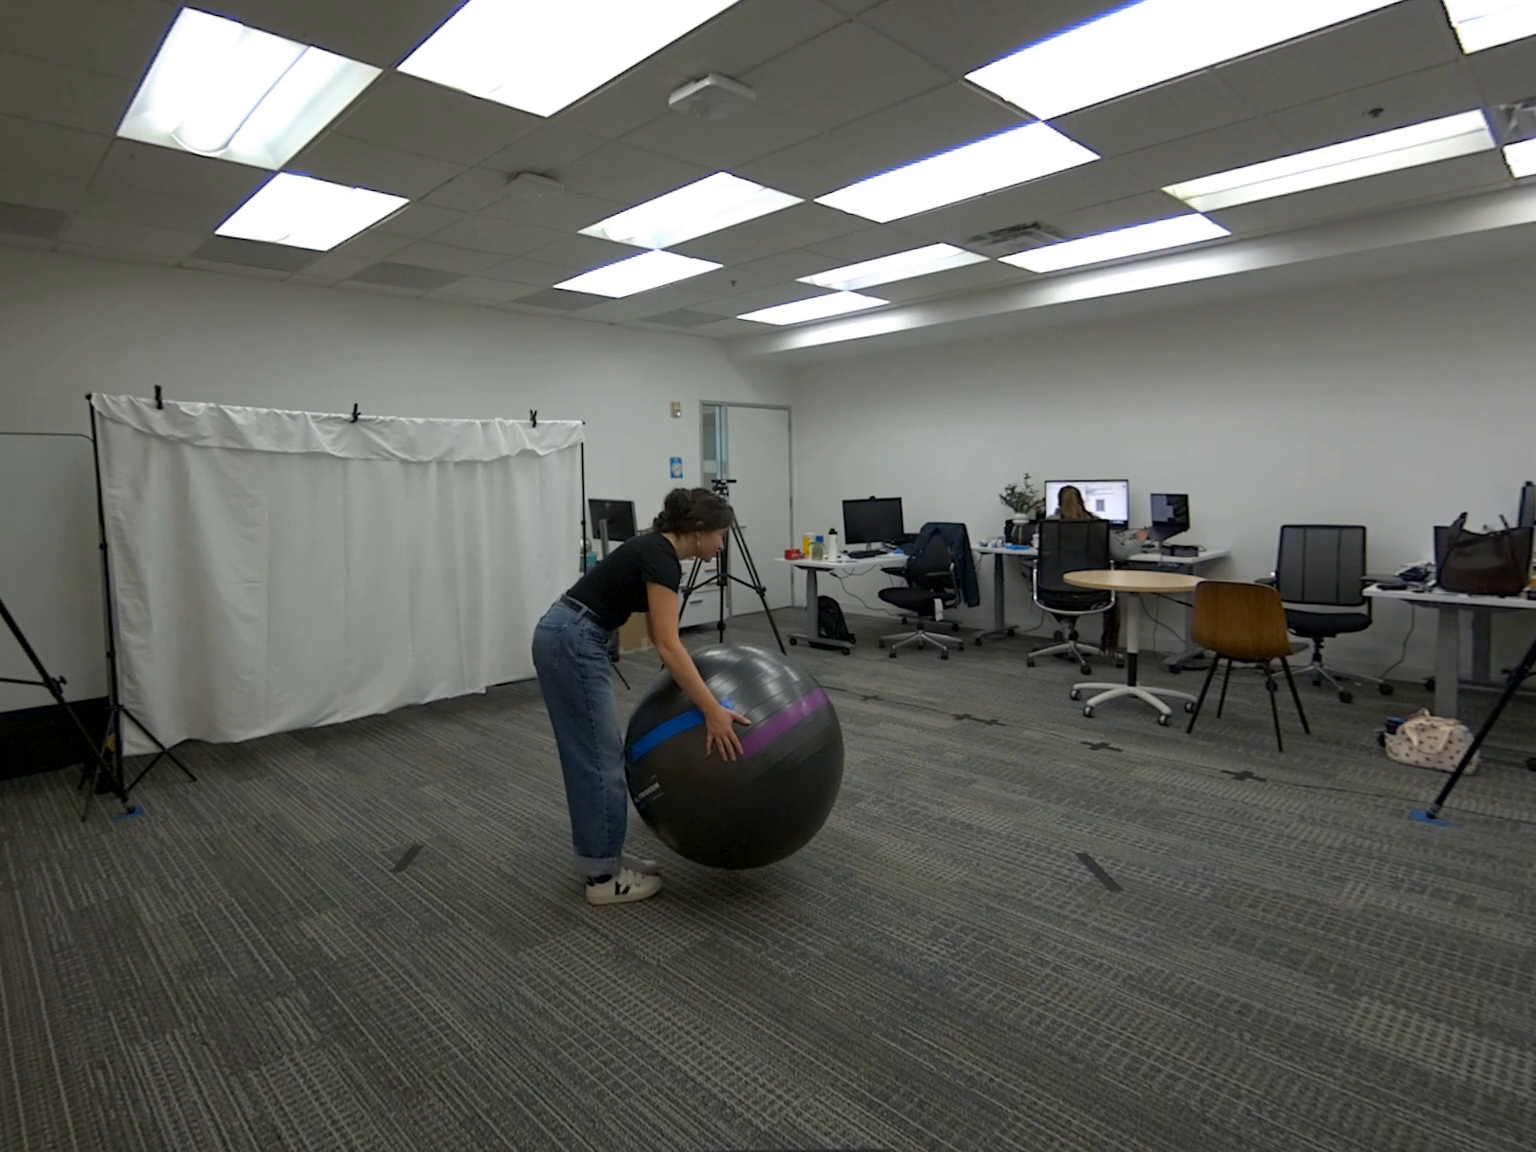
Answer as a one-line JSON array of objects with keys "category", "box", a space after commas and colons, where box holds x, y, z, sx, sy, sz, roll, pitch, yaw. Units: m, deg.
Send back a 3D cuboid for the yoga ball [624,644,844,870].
[{"category": "yoga ball", "box": [-0.107, 0.623, 2.954, 0.757, 0.755, 0.762, -1, 5, -2]}]
